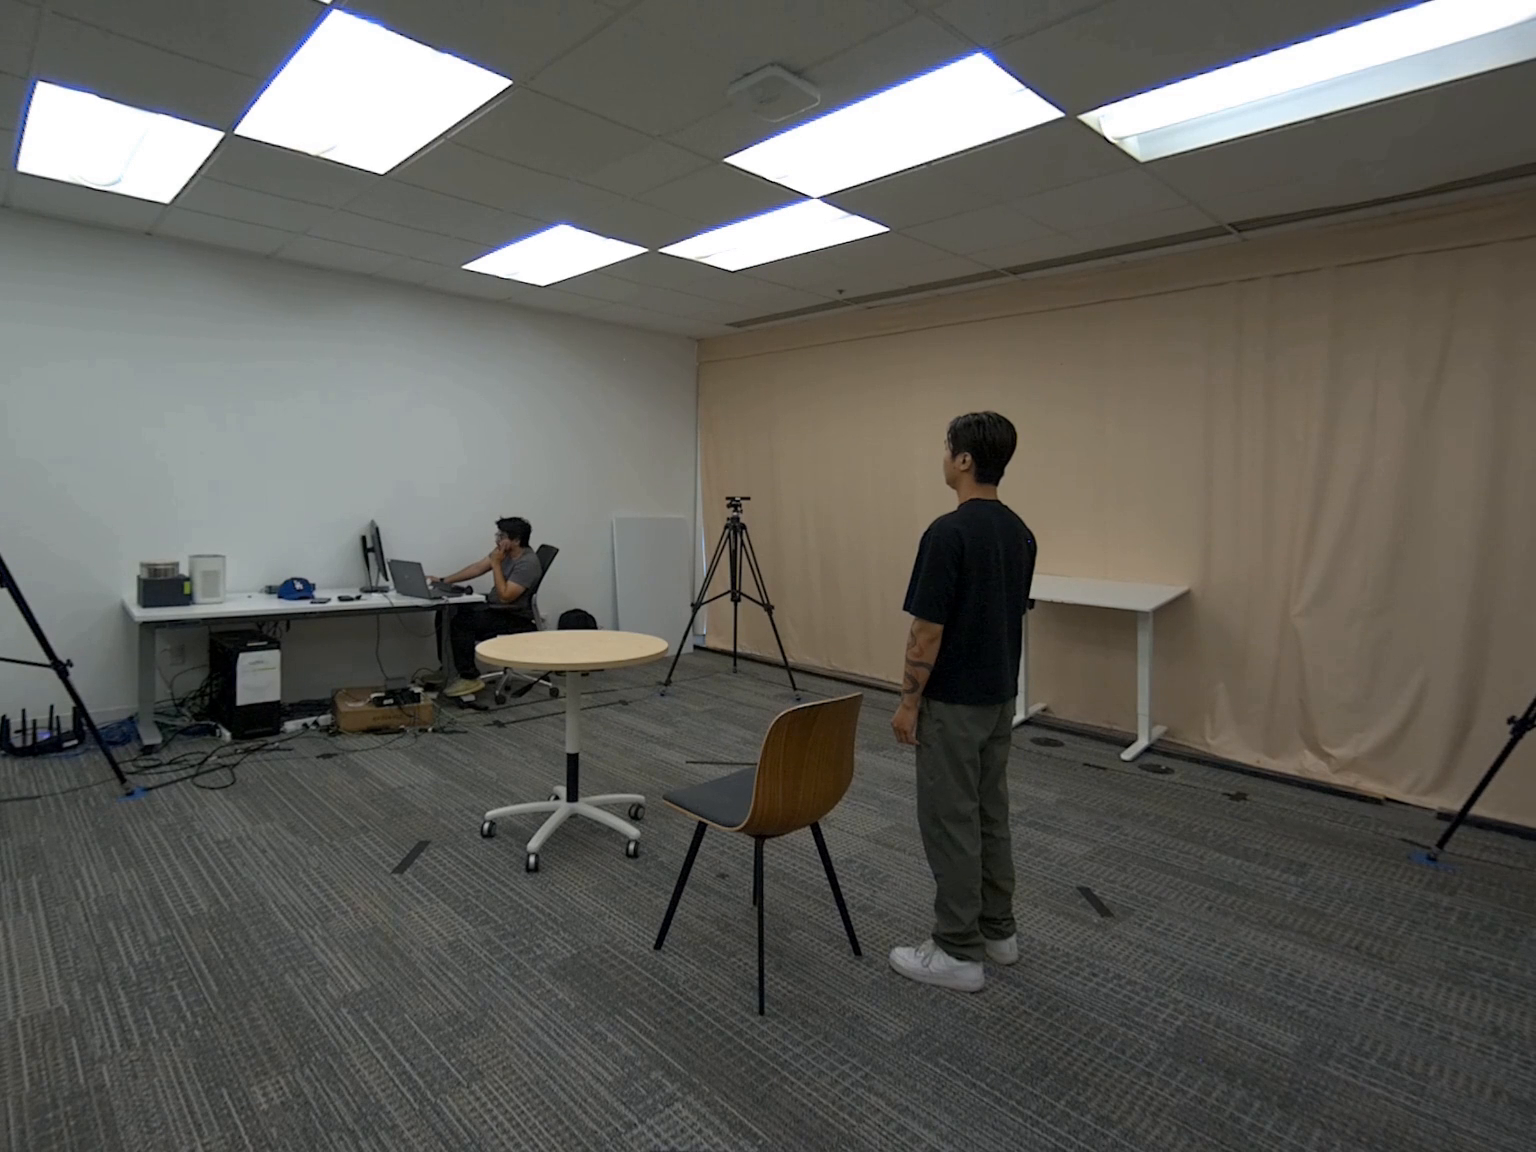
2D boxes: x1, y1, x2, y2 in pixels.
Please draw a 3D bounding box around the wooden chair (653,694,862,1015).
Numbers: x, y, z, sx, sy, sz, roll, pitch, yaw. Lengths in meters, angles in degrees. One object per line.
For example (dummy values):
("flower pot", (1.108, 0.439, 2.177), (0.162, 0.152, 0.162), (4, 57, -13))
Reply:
("wooden chair", (-0.028, 0.729, 2.554), (0.537, 0.873, 0.467), (11, 9, 44))
